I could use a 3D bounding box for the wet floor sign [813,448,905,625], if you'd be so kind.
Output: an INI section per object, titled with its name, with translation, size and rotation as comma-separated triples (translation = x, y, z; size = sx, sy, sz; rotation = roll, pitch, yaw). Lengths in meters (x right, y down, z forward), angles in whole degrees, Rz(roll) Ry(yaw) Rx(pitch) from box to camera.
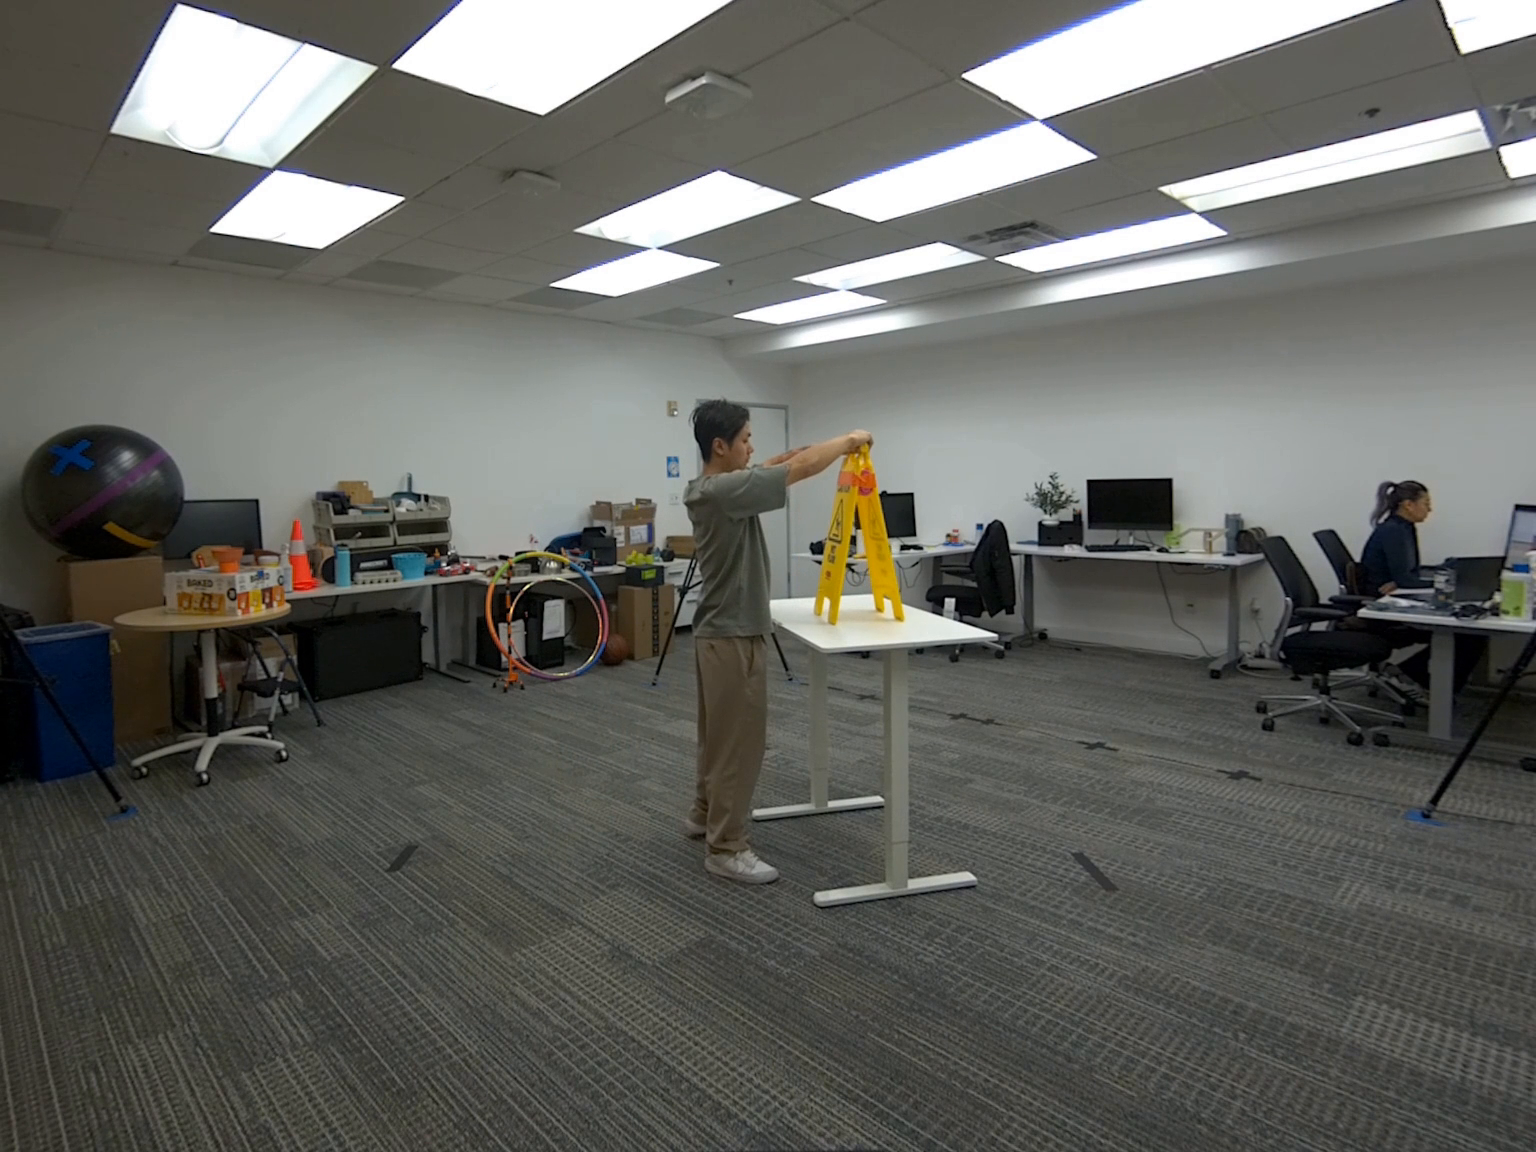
[wet floor sign]
translation = 0.326, -0.168, 3.115
size = 0.287, 0.644, 0.286
rotation = -1, 4, -10
